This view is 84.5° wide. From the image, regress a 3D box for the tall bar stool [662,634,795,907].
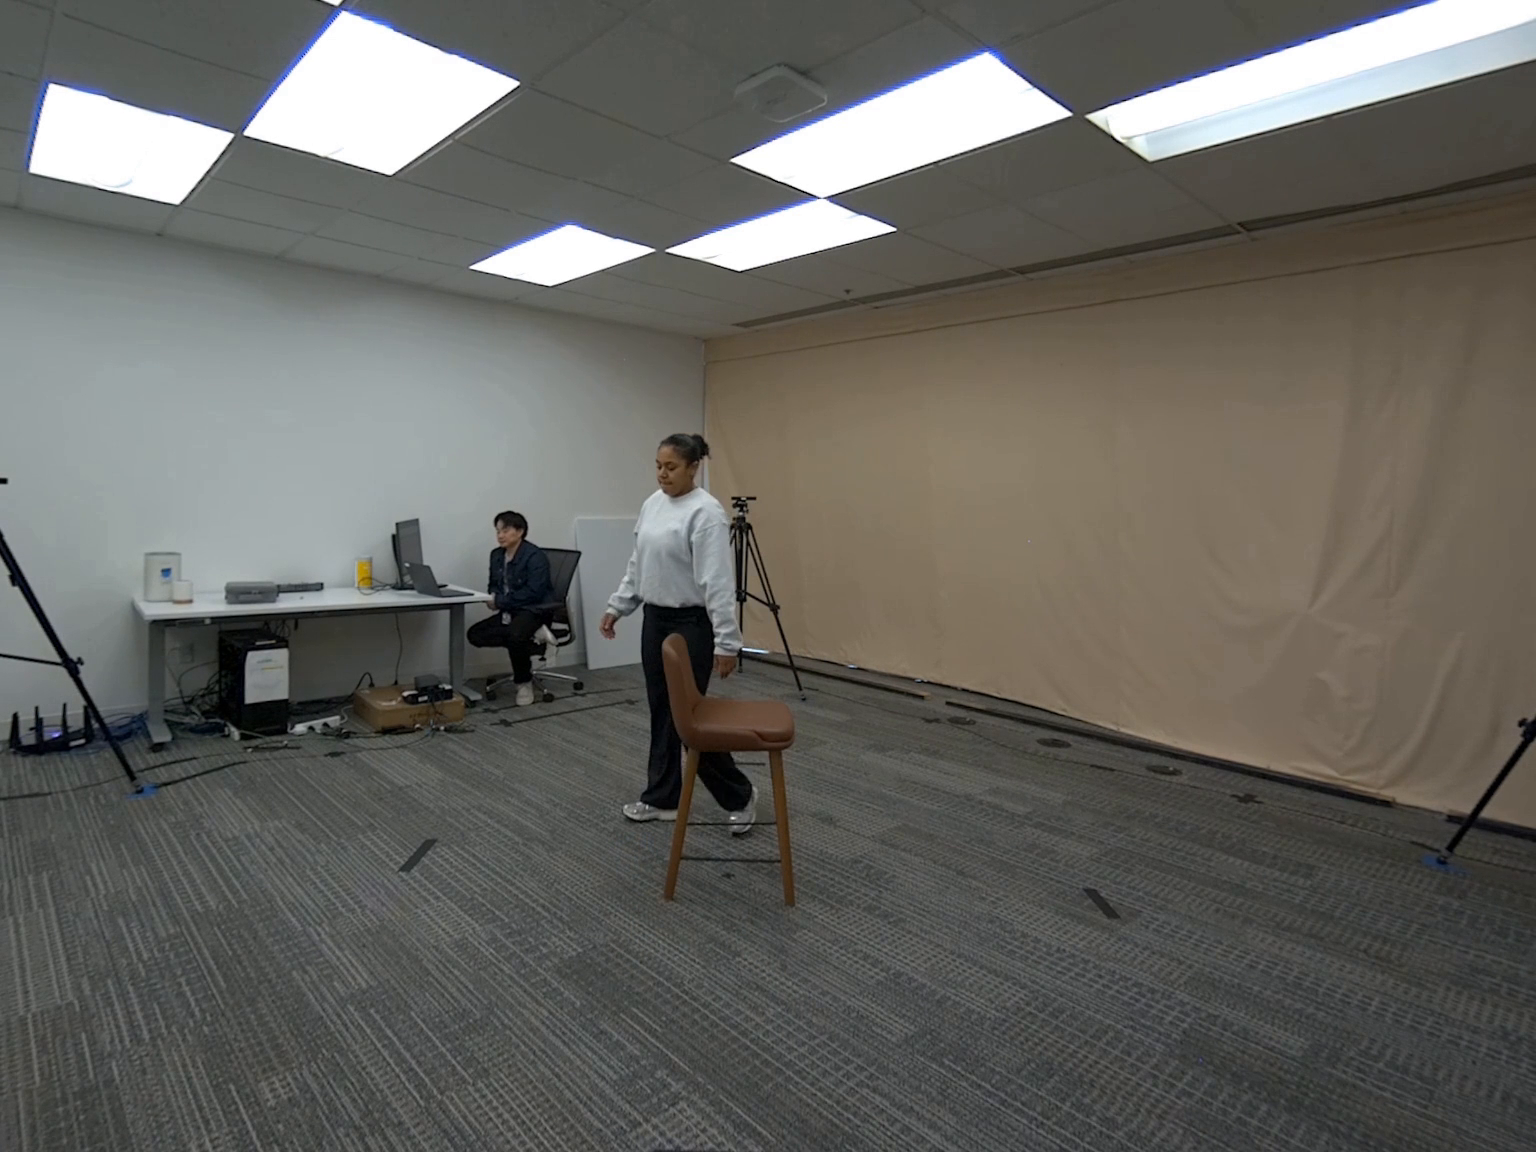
[{"bbox_3d":[-0.146,0.677,3.066,0.467,0.888,0.458,0,3,-1],"label":"tall bar stool"}]
